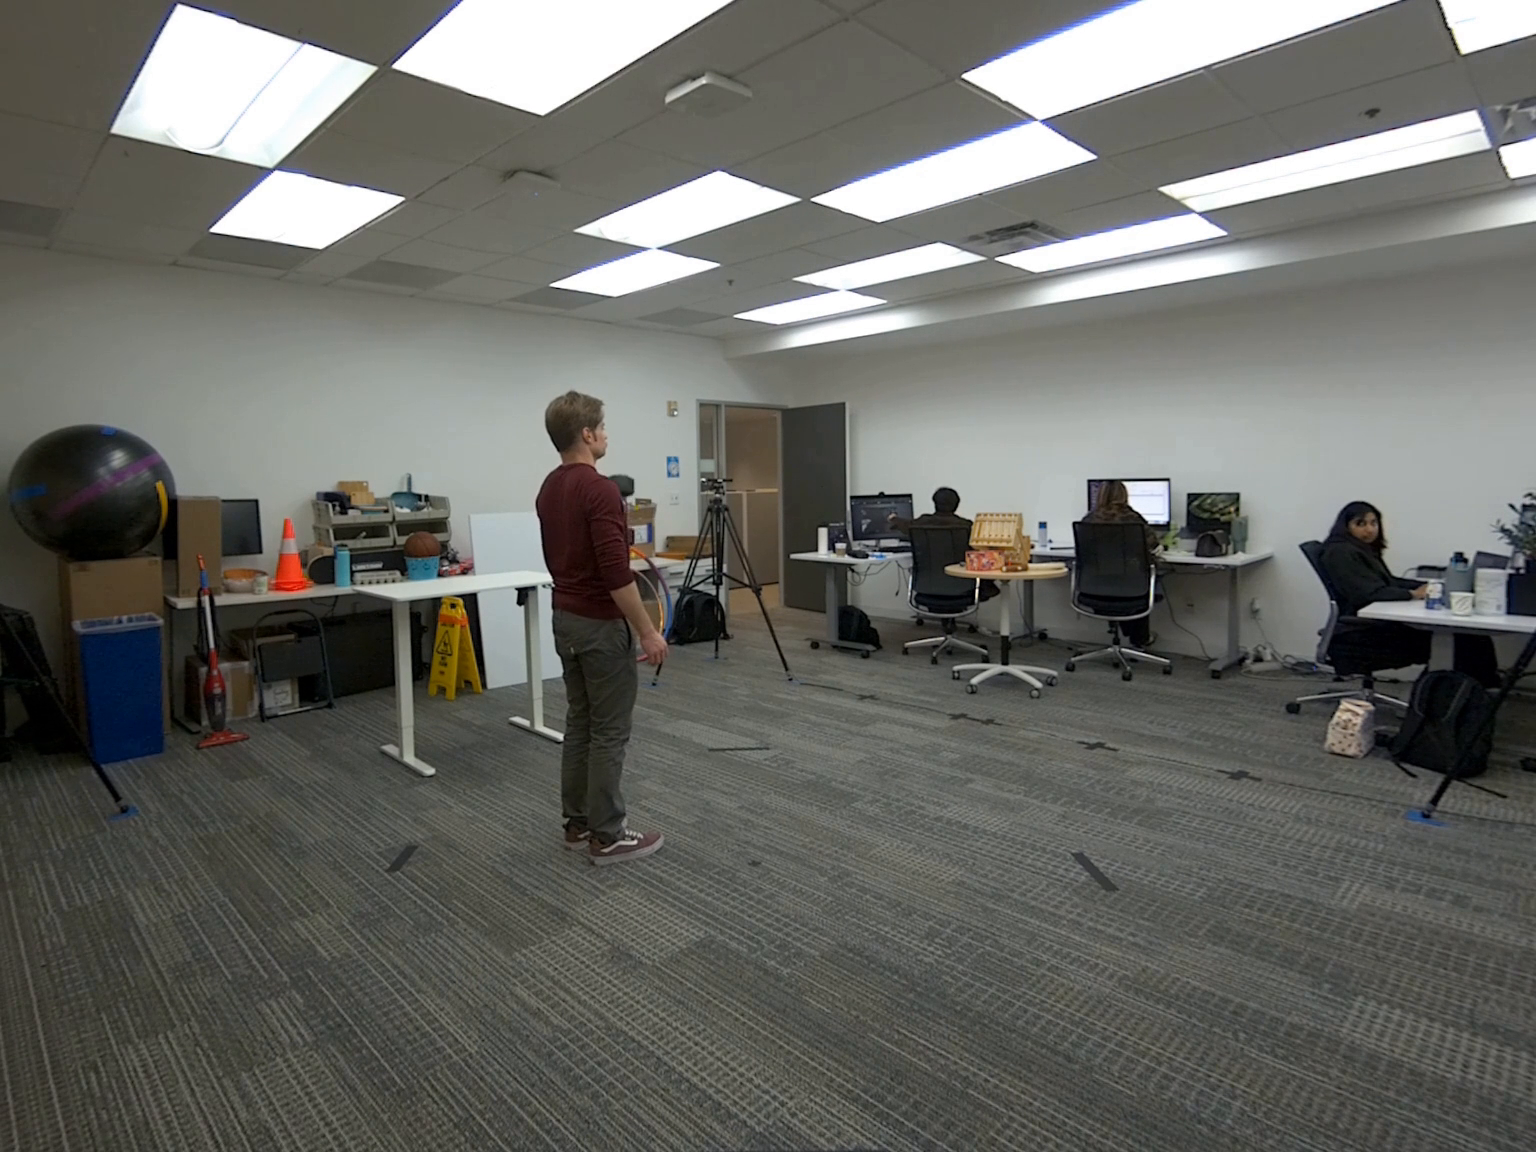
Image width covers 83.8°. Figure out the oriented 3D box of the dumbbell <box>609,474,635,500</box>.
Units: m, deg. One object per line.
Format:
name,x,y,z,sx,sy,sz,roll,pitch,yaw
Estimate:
dumbbell,-0.624,-0.254,3.540,0.111,0.295,0.119,-2,-7,26
